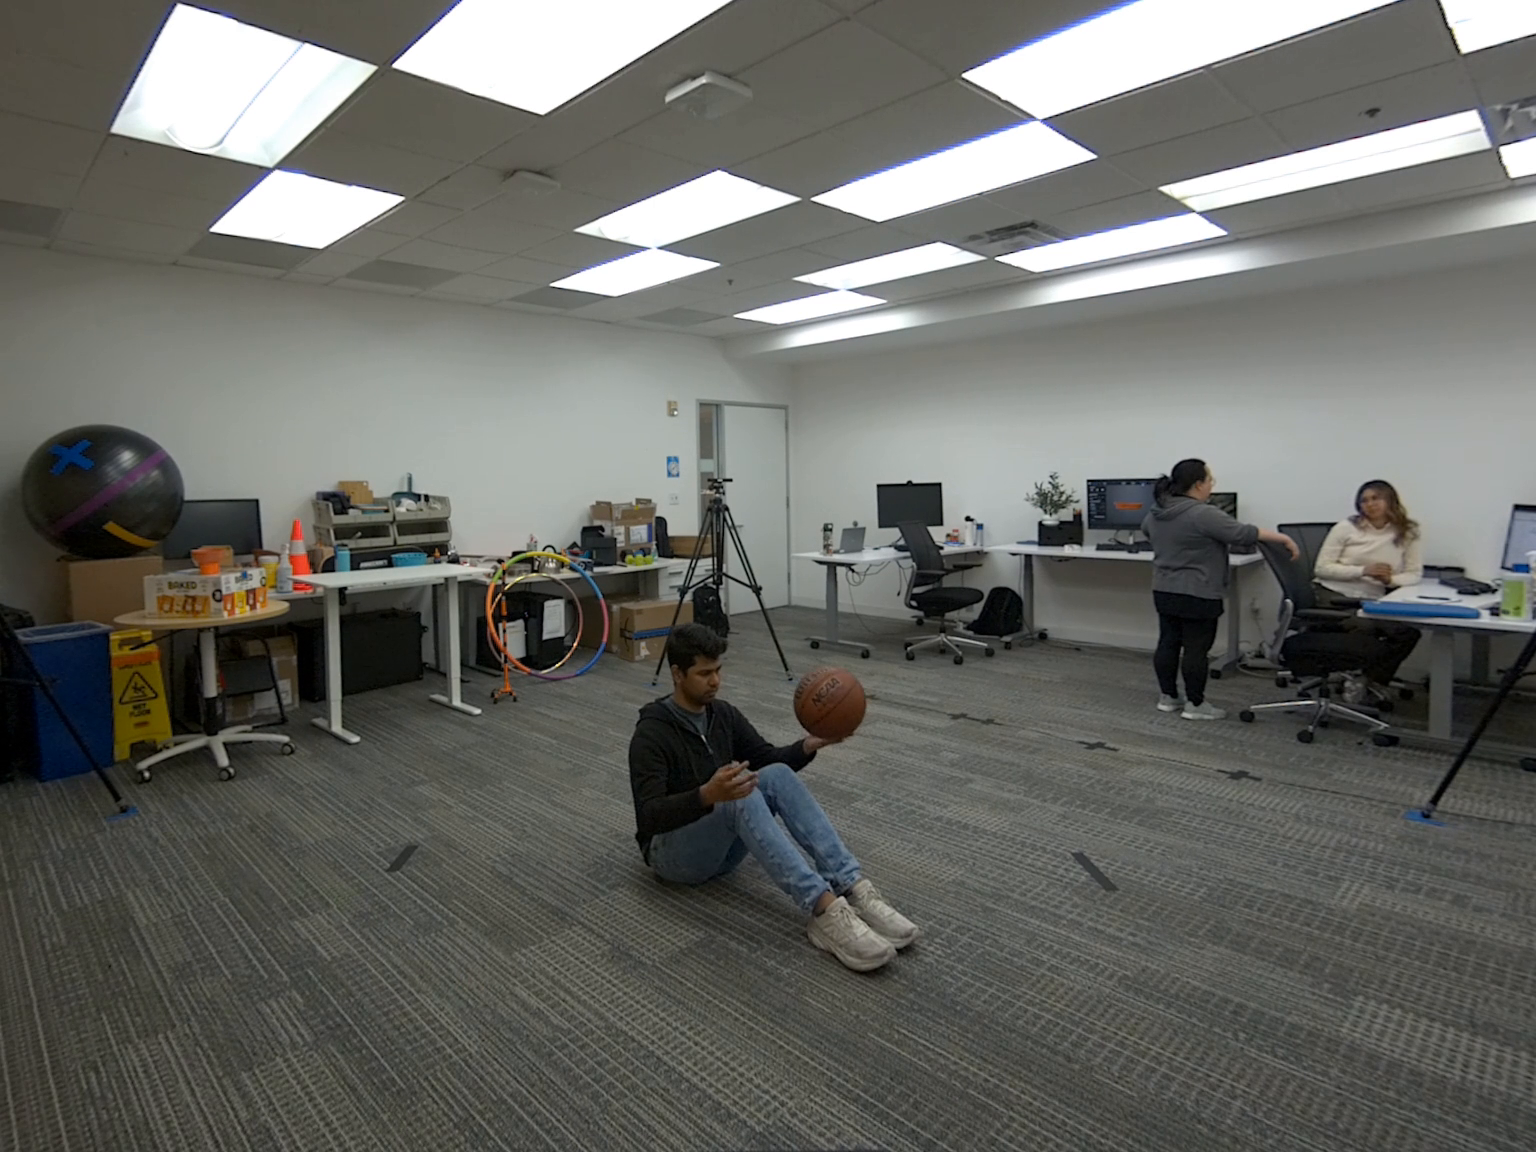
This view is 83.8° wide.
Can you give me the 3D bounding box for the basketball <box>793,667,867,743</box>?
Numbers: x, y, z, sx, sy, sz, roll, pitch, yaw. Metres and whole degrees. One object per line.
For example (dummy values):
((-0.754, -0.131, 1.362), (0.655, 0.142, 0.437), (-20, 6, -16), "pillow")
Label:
((0.186, 0.437, 2.799), (0.236, 0.235, 0.237), (-1, 5, -2), "basketball")
